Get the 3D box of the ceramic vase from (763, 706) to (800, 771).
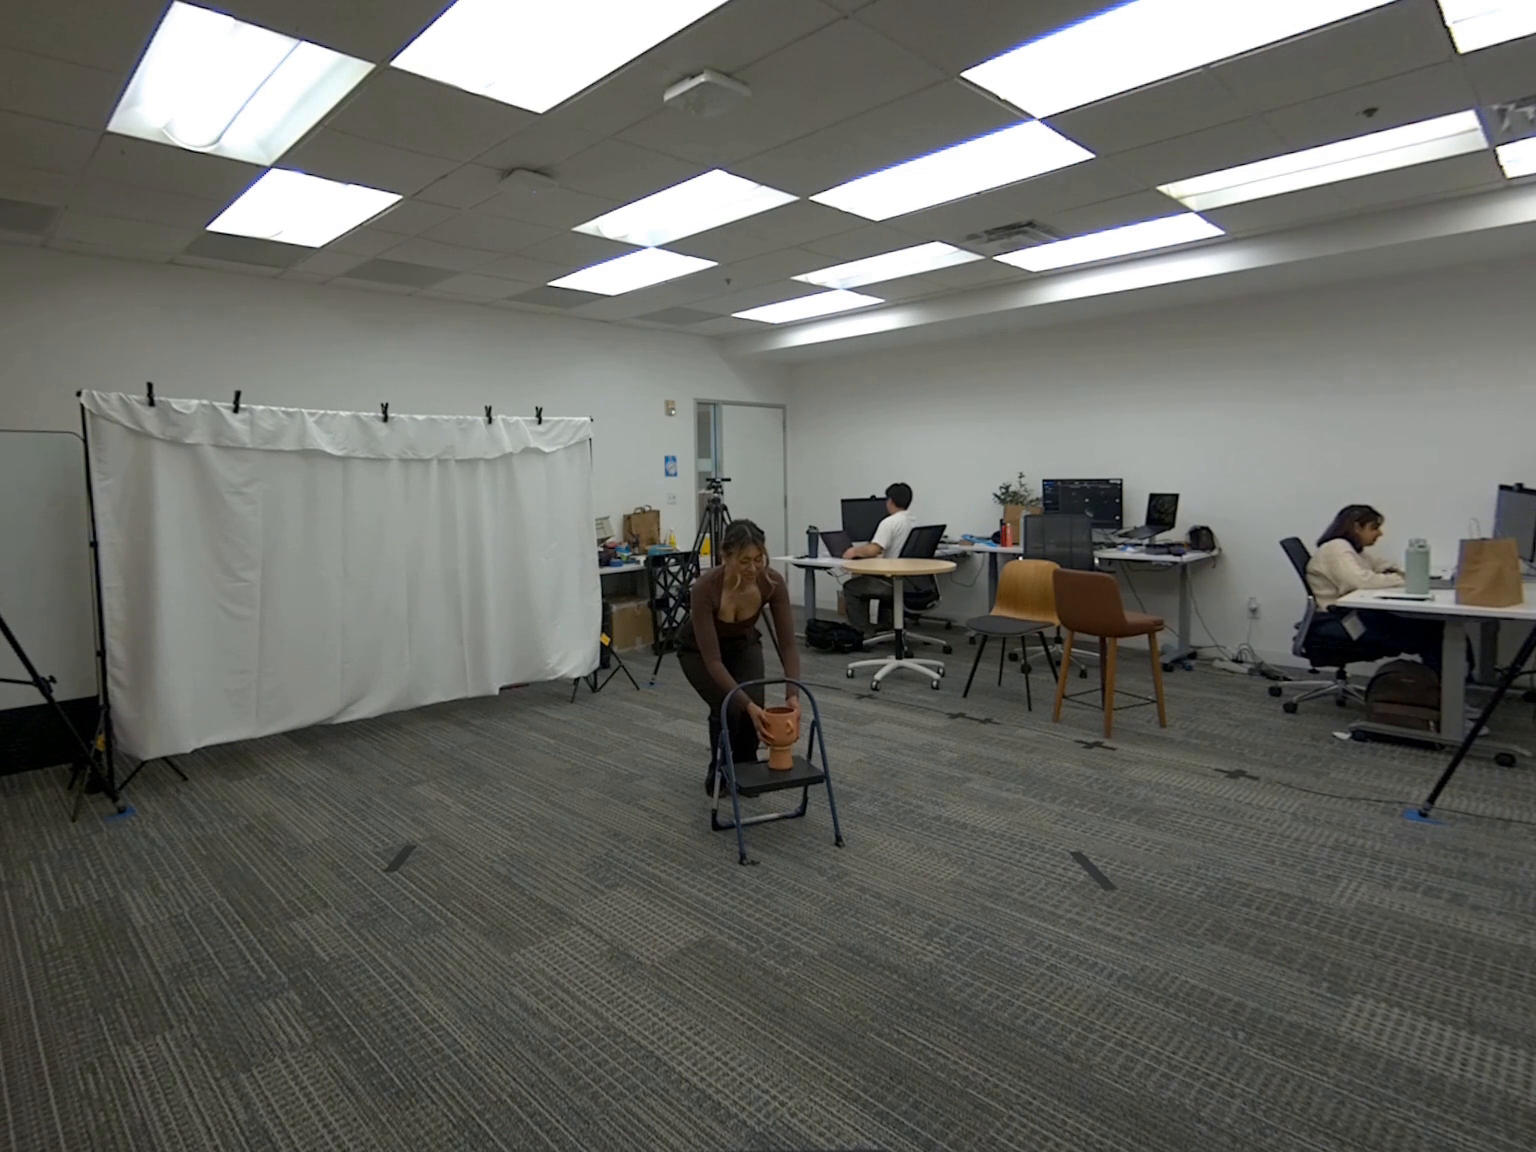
[{"bbox_3d":[0.049,0.634,3.363,0.136,0.219,0.158,-1,6,7],"label":"ceramic vase"}]
